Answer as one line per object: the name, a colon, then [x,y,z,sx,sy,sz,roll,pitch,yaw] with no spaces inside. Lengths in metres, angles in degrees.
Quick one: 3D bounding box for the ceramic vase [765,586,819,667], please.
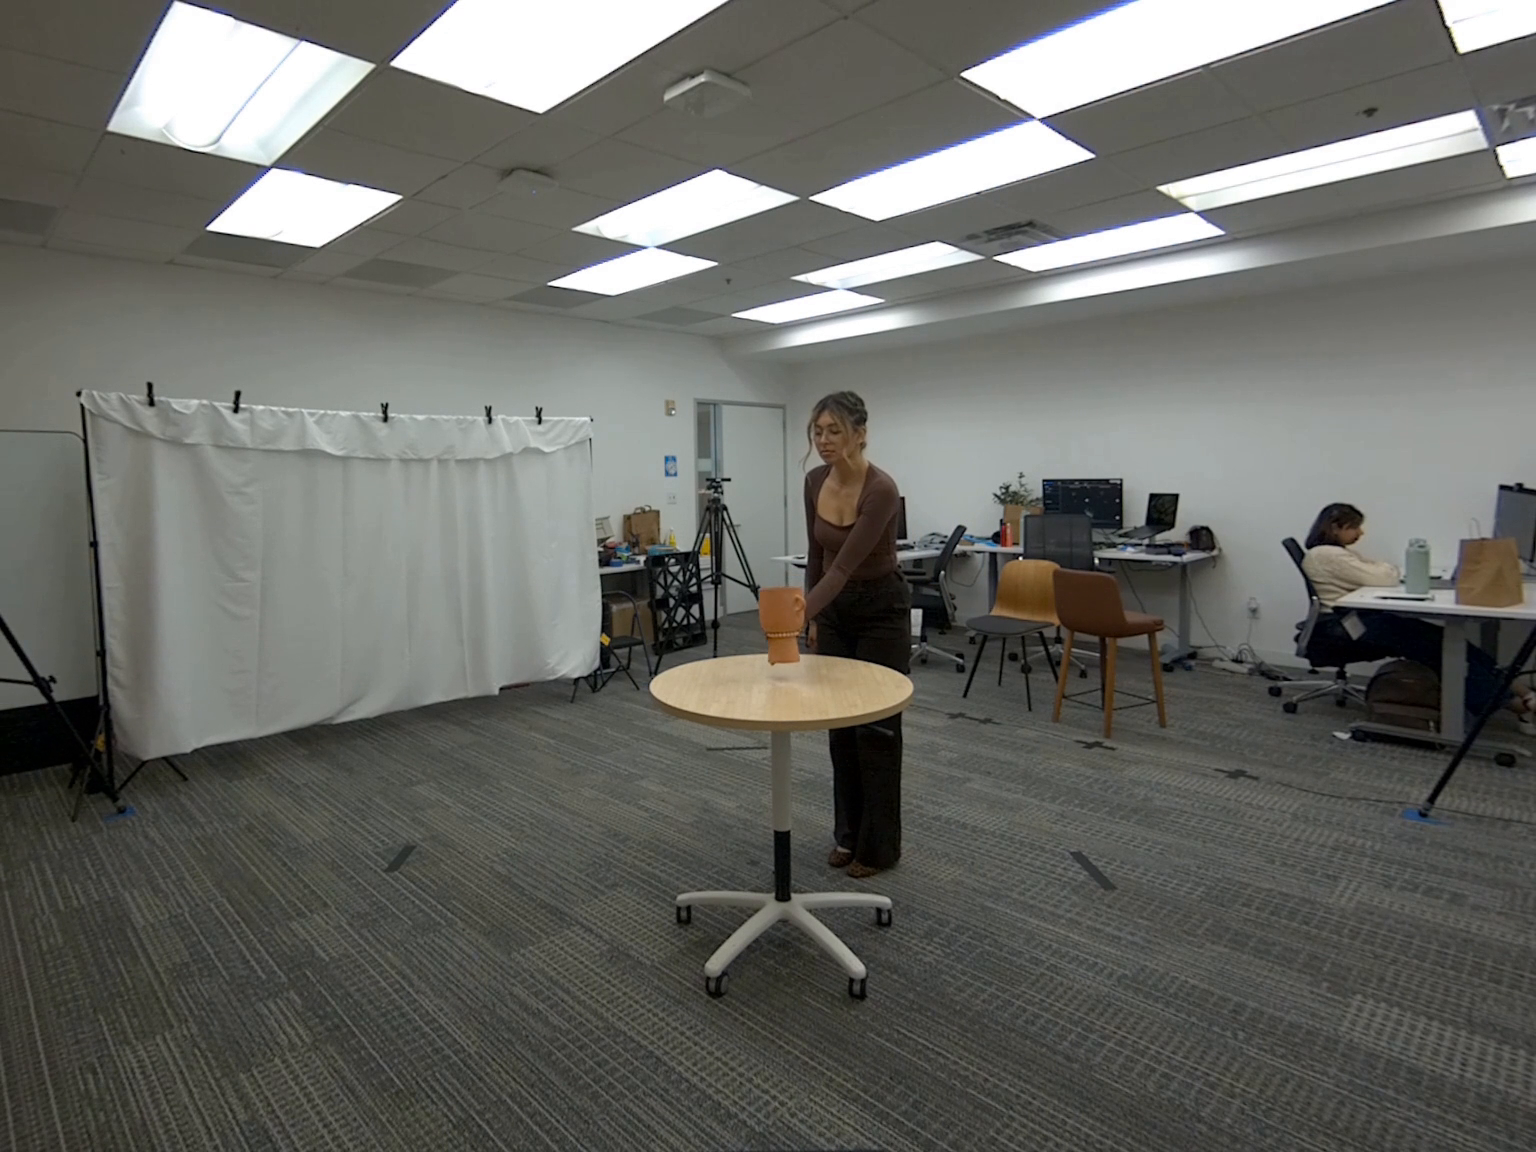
ceramic vase: [0.067,0.144,2.542,0.134,0.220,0.159,-2,0,-2]
